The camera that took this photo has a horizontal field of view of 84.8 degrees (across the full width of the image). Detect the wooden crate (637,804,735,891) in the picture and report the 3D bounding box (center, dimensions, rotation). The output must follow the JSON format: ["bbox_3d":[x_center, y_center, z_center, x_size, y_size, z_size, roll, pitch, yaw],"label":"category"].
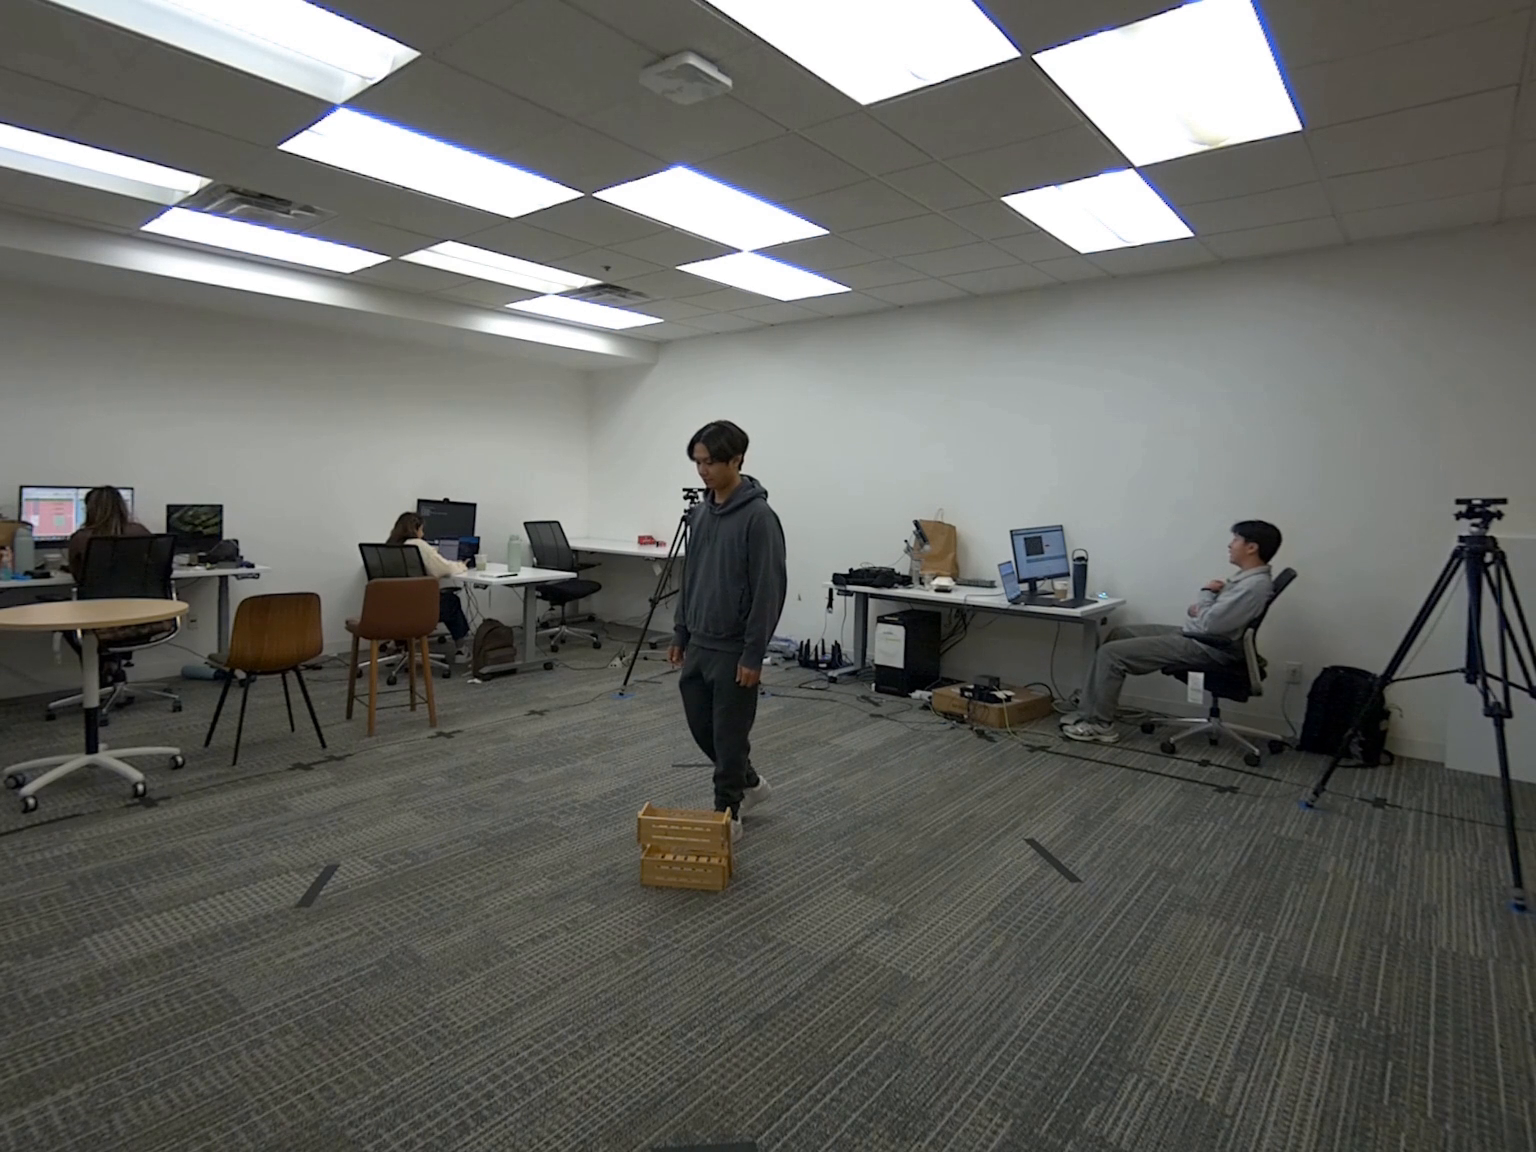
[{"bbox_3d":[-0.299,0.939,3.058,0.327,0.272,0.301,2,4,6],"label":"wooden crate"}]
